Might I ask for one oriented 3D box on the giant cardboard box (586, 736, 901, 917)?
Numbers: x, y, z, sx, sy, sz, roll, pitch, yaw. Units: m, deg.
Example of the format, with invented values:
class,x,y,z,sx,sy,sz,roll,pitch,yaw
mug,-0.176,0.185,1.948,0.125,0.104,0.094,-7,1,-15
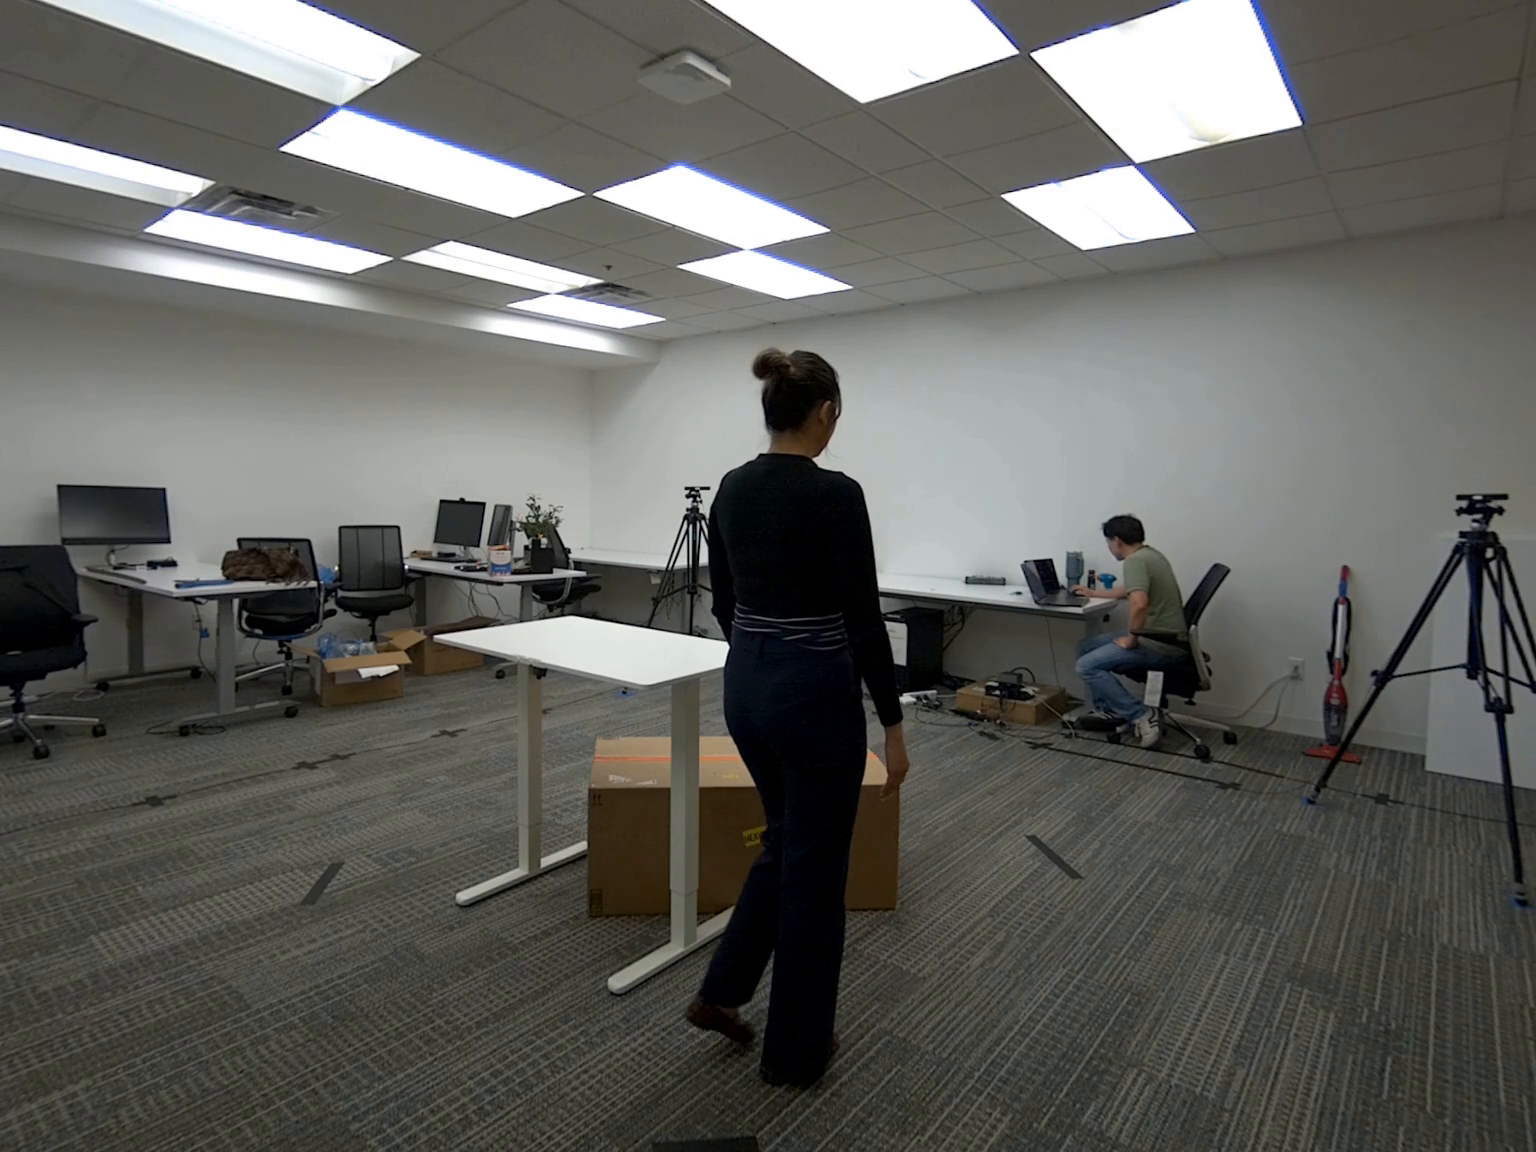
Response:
class,x,y,z,sx,sy,sz,roll,pitch,yaw
giant cardboard box,-0.125,0.857,3.055,1.019,0.424,0.584,0,5,-6
